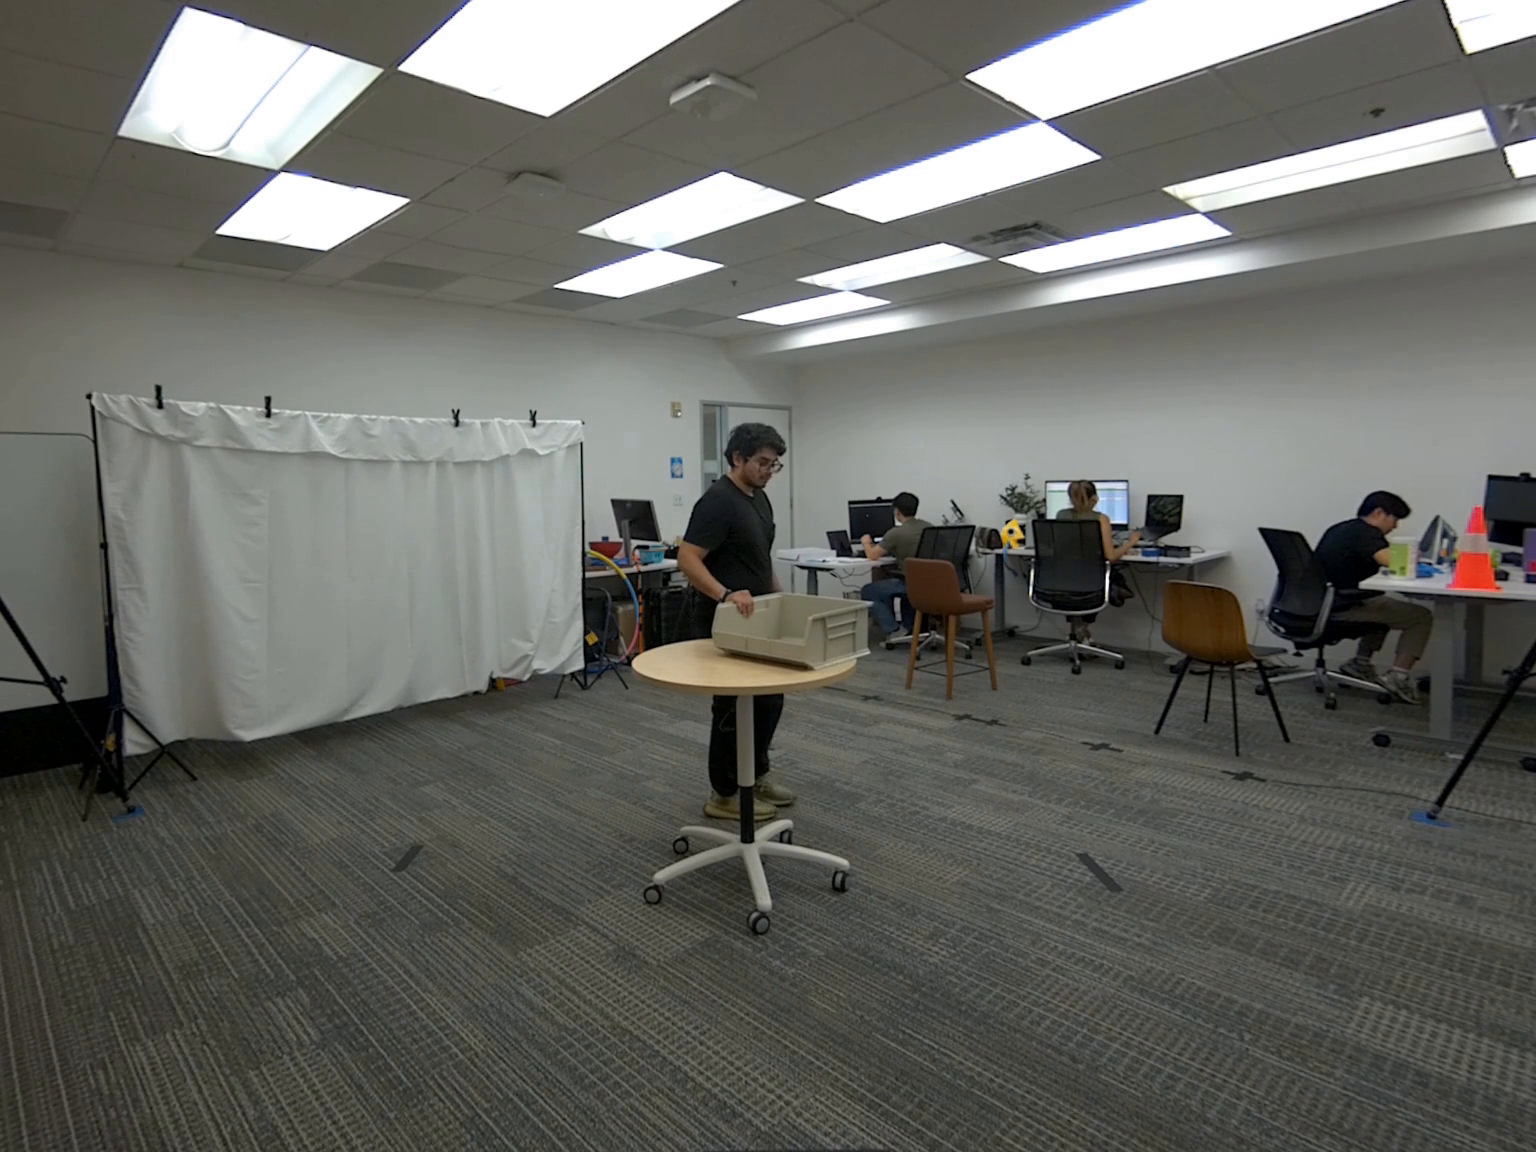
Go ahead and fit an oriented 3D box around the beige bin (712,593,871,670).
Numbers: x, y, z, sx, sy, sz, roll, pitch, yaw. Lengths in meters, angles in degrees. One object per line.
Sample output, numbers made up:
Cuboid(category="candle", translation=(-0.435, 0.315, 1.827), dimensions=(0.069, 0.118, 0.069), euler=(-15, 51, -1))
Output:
Cuboid(category="beige bin", translation=(0.087, 0.187, 2.957), dimensions=(0.435, 0.188, 0.367), euler=(3, 5, 41))
